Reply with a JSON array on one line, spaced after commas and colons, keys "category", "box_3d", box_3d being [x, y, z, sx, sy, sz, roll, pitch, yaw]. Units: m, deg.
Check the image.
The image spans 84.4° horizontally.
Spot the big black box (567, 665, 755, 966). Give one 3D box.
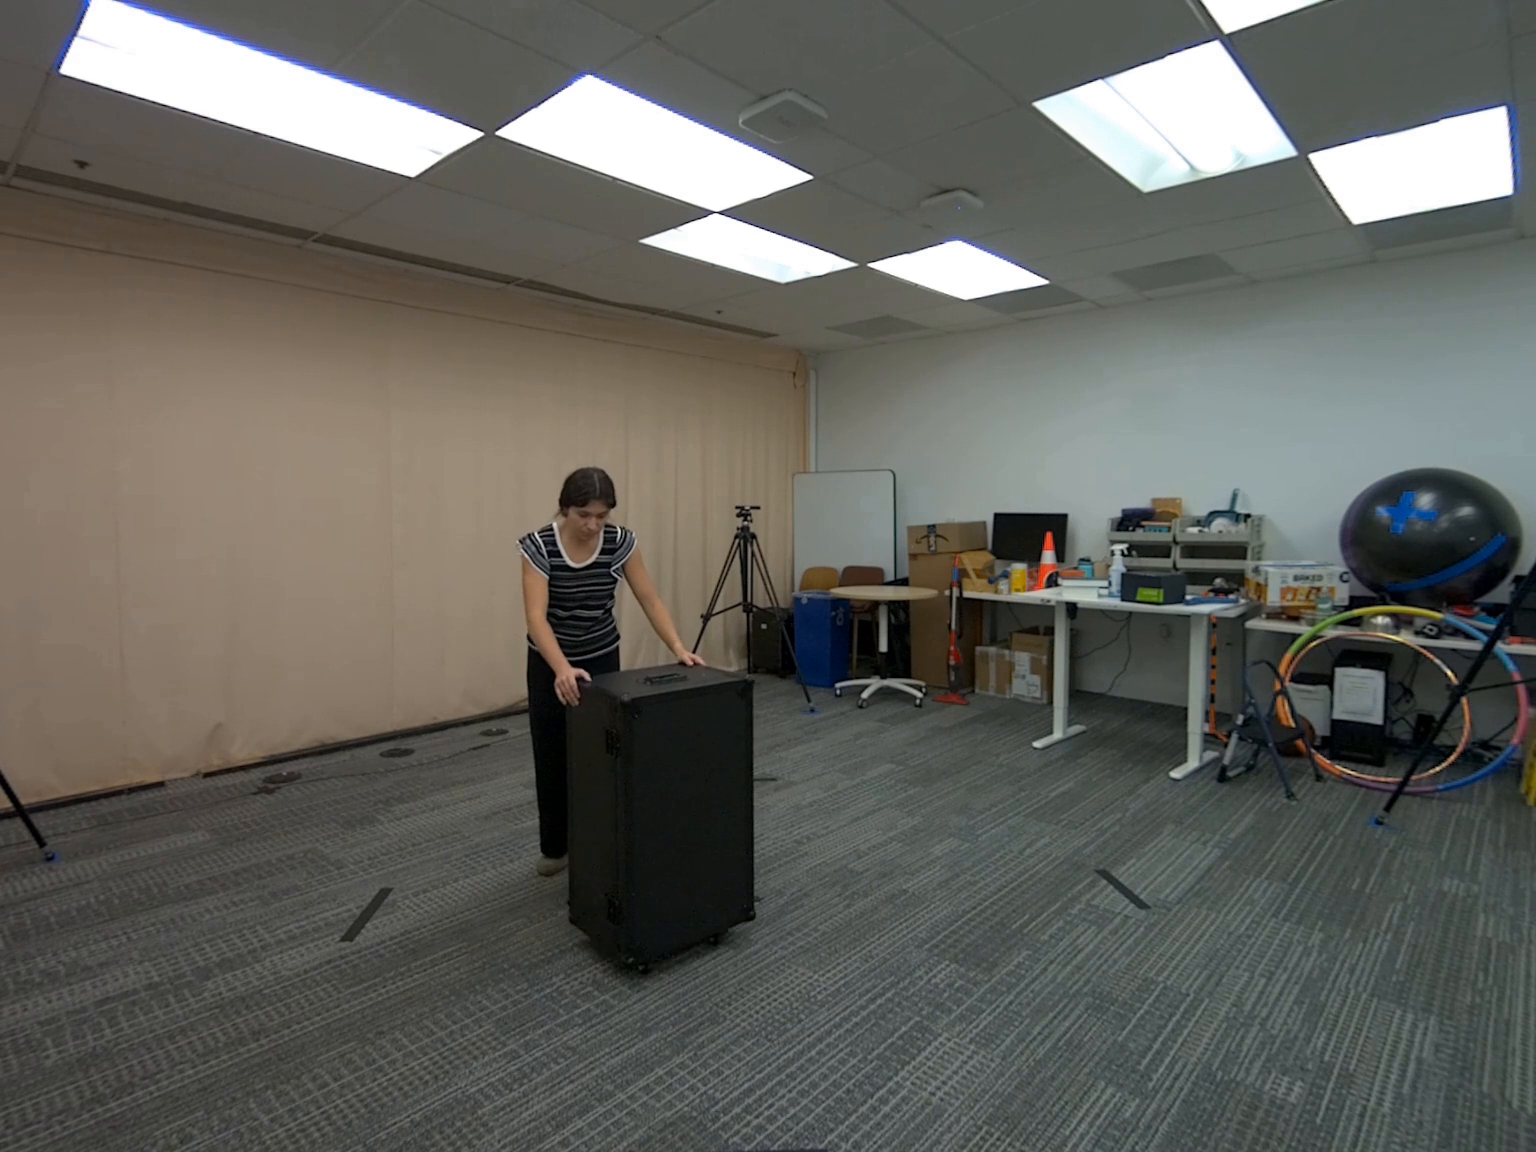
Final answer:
[{"category": "big black box", "box_3d": [-0.346, 0.749, 2.671, 0.505, 0.860, 0.409, -3, 4, -39]}]
